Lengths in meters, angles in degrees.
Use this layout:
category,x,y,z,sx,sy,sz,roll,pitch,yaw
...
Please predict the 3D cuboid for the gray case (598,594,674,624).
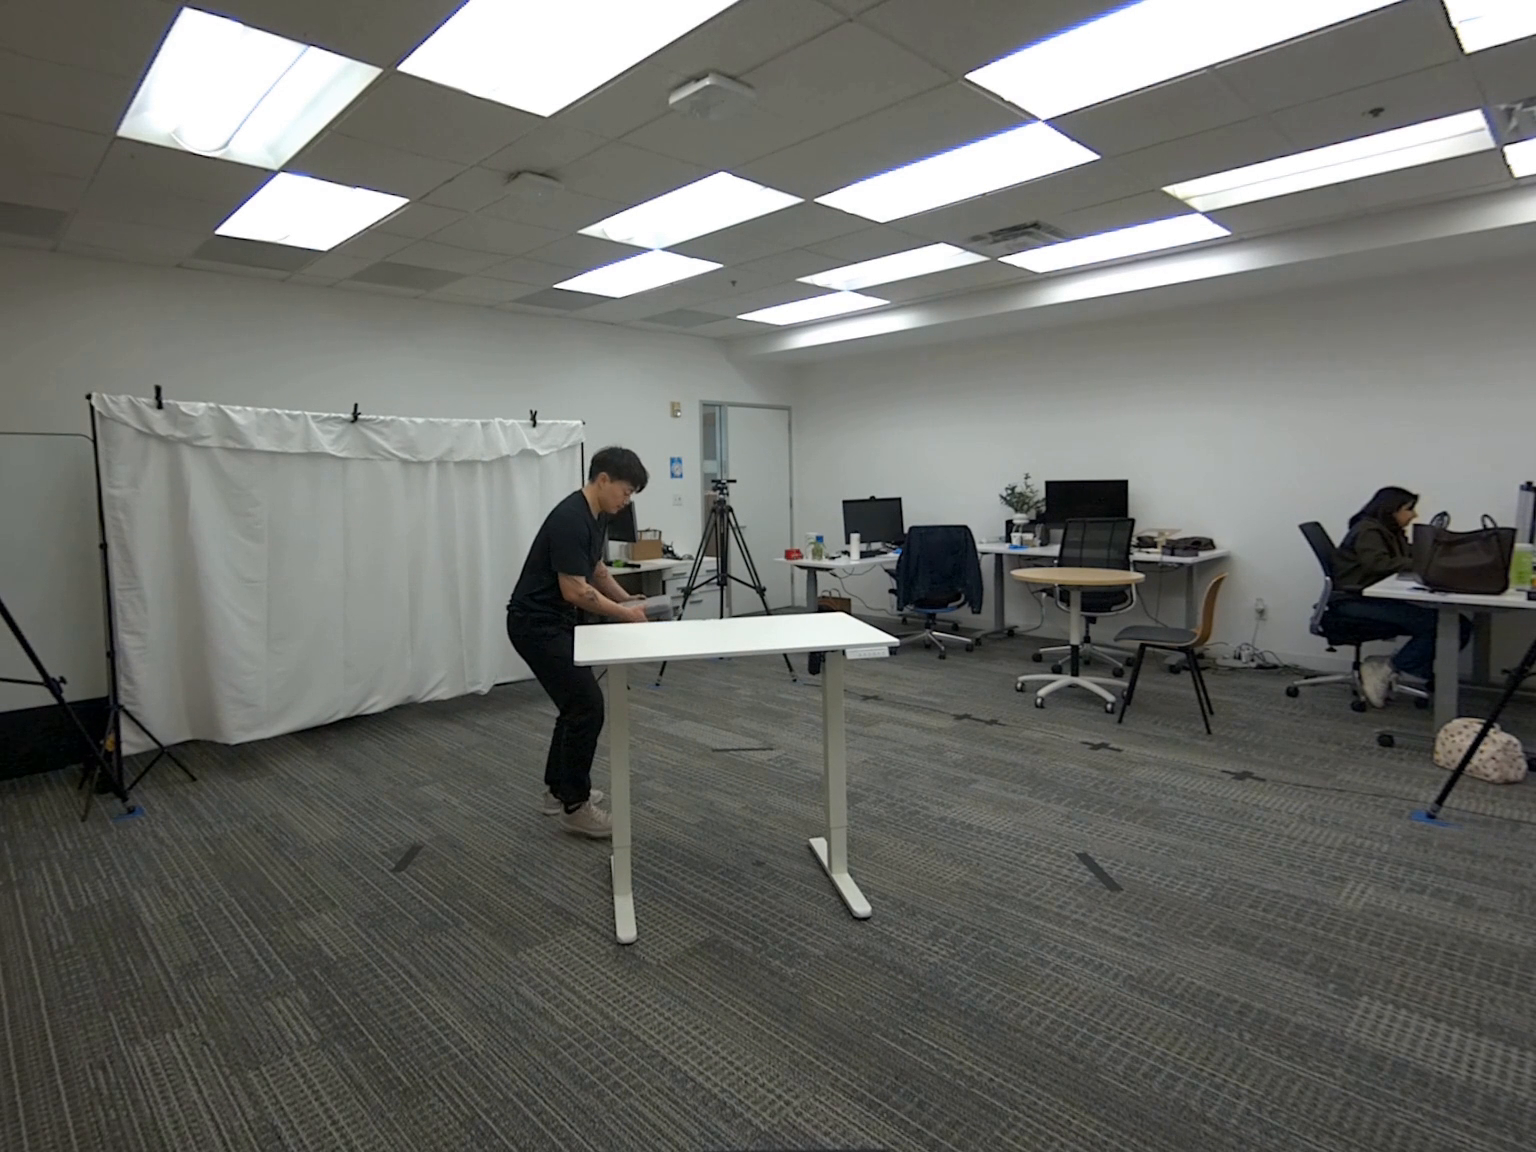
category,x,y,z,sx,sy,sz,roll,pitch,yaw
gray case,-0.518,0.163,3.621,0.262,0.104,0.257,-9,6,4
